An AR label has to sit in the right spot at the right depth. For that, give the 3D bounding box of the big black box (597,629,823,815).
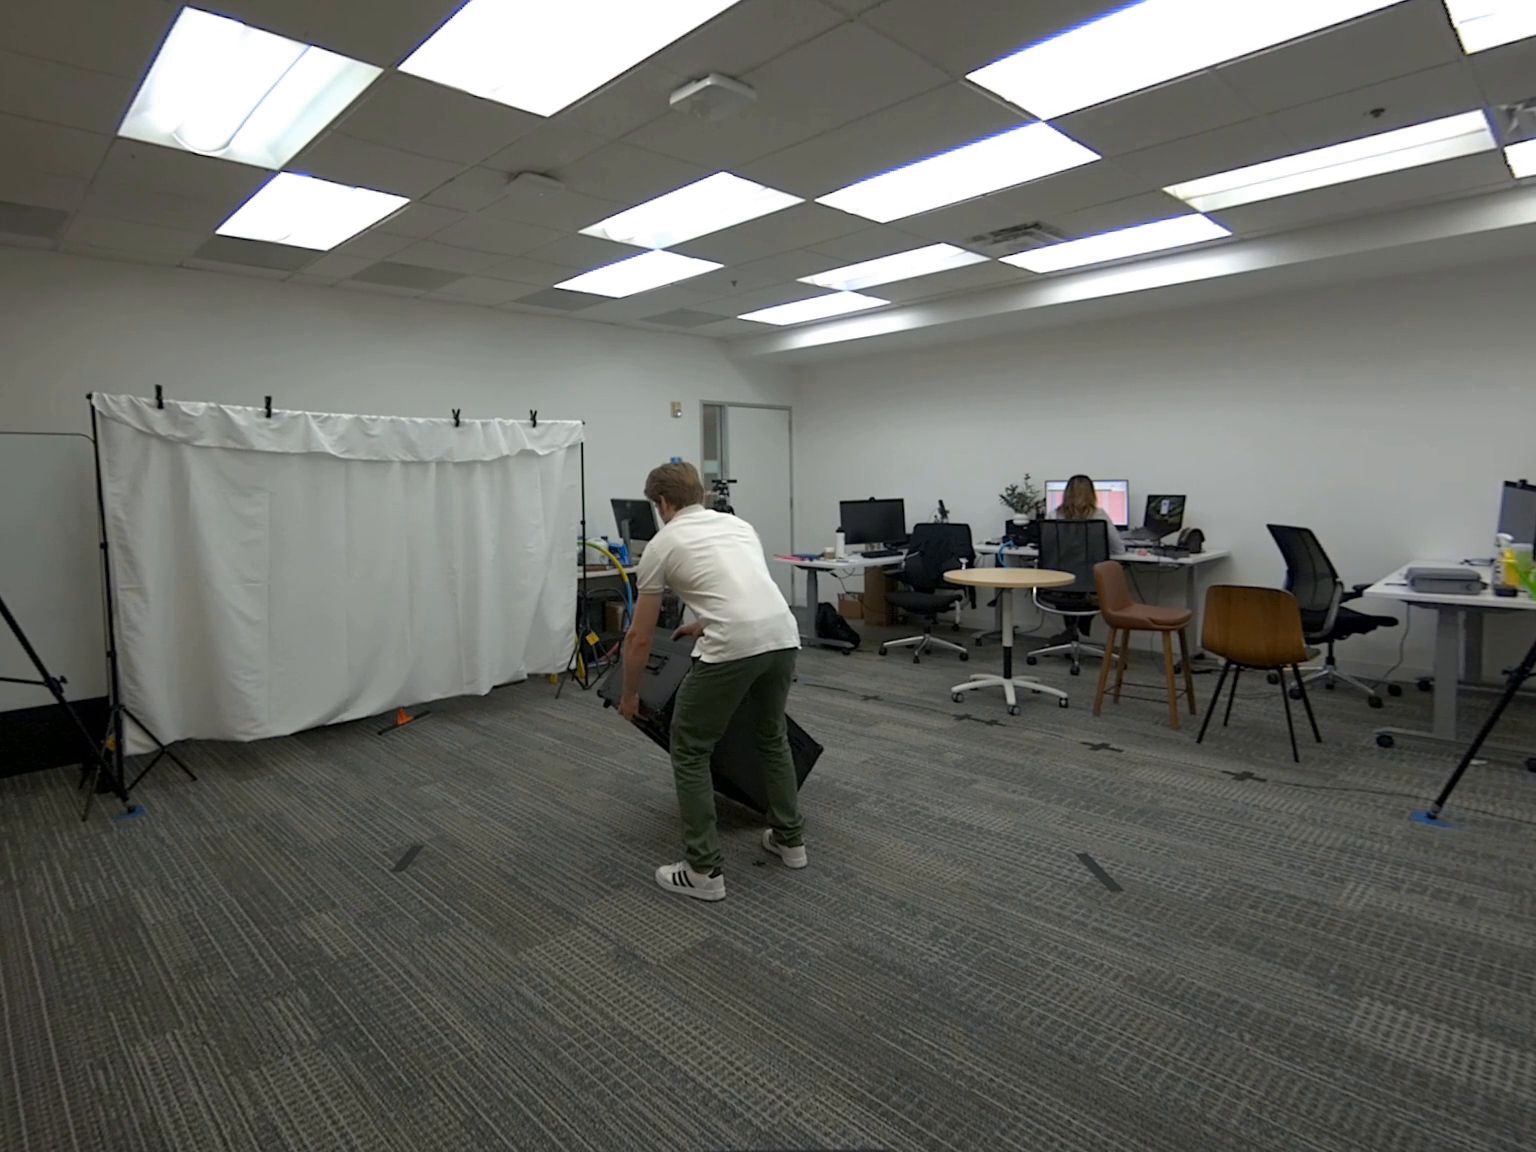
[{"bbox_3d":[-0.211,0.627,3.544,0.840,0.386,0.539,47,-24,-28],"label":"big black box"}]
